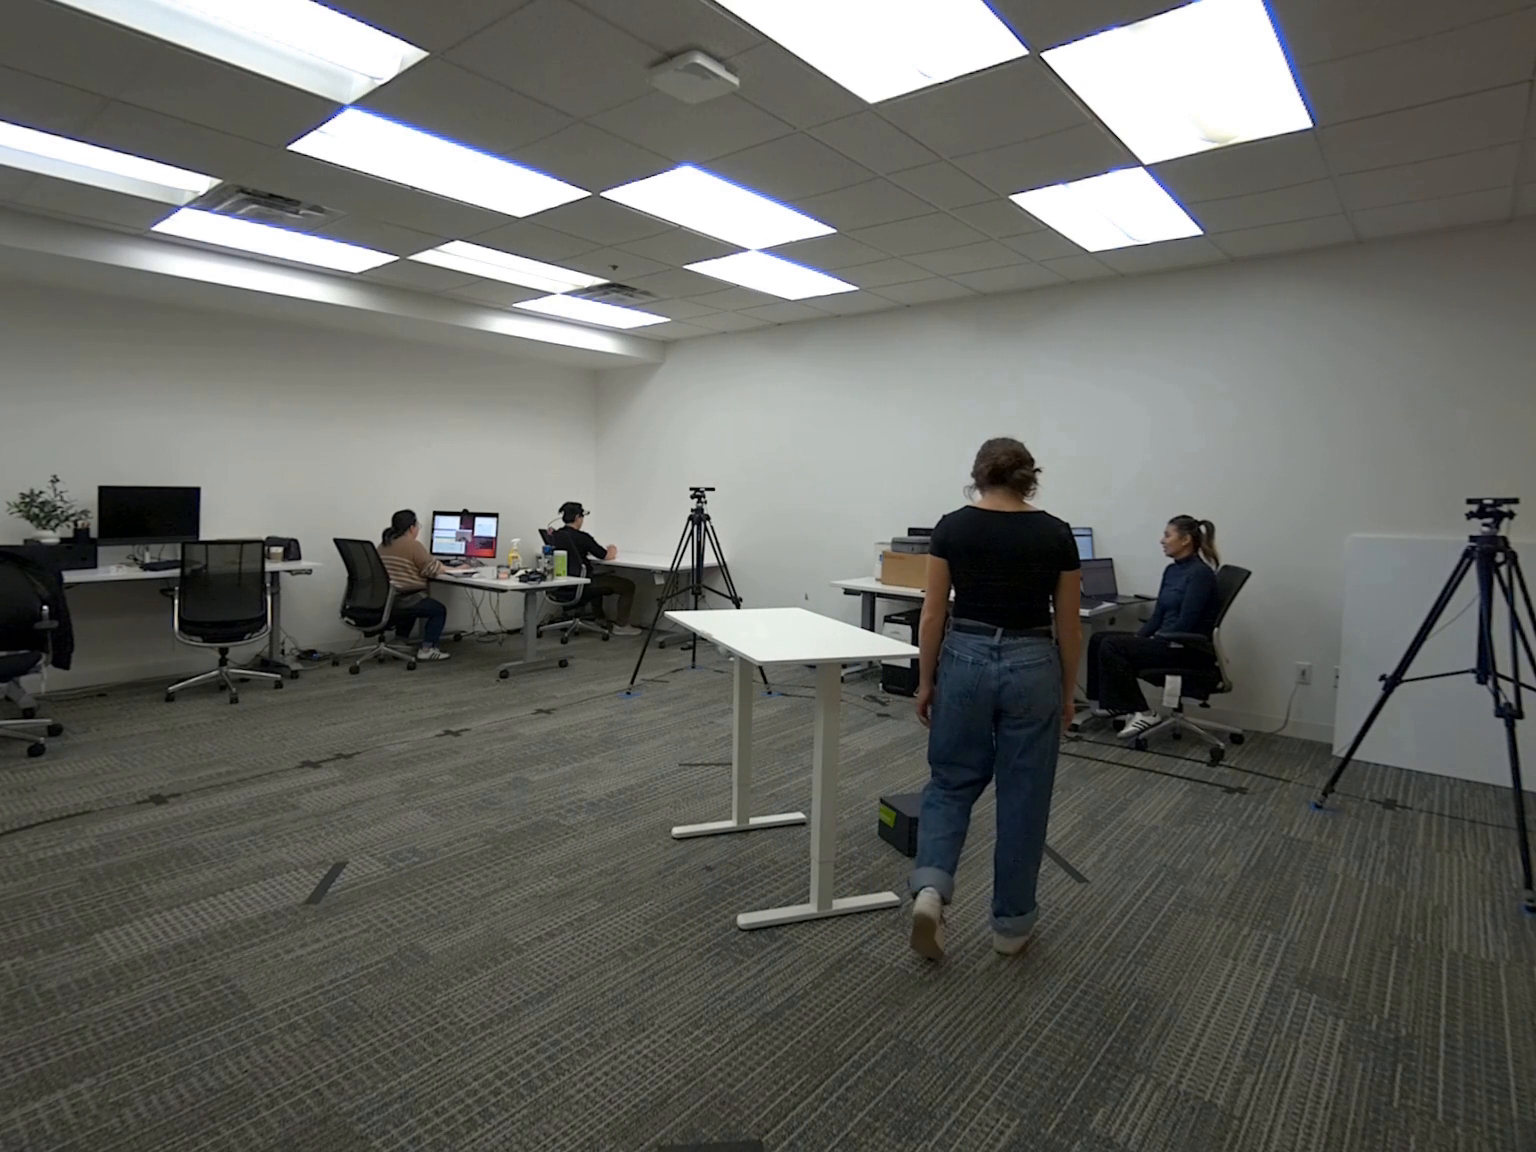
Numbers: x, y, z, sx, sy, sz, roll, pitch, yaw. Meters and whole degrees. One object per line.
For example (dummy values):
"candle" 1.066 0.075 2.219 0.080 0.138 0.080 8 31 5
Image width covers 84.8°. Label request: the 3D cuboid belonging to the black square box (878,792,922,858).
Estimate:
"black square box" 0.584 0.974 3.377 0.212 0.155 0.234 -1 5 -22
